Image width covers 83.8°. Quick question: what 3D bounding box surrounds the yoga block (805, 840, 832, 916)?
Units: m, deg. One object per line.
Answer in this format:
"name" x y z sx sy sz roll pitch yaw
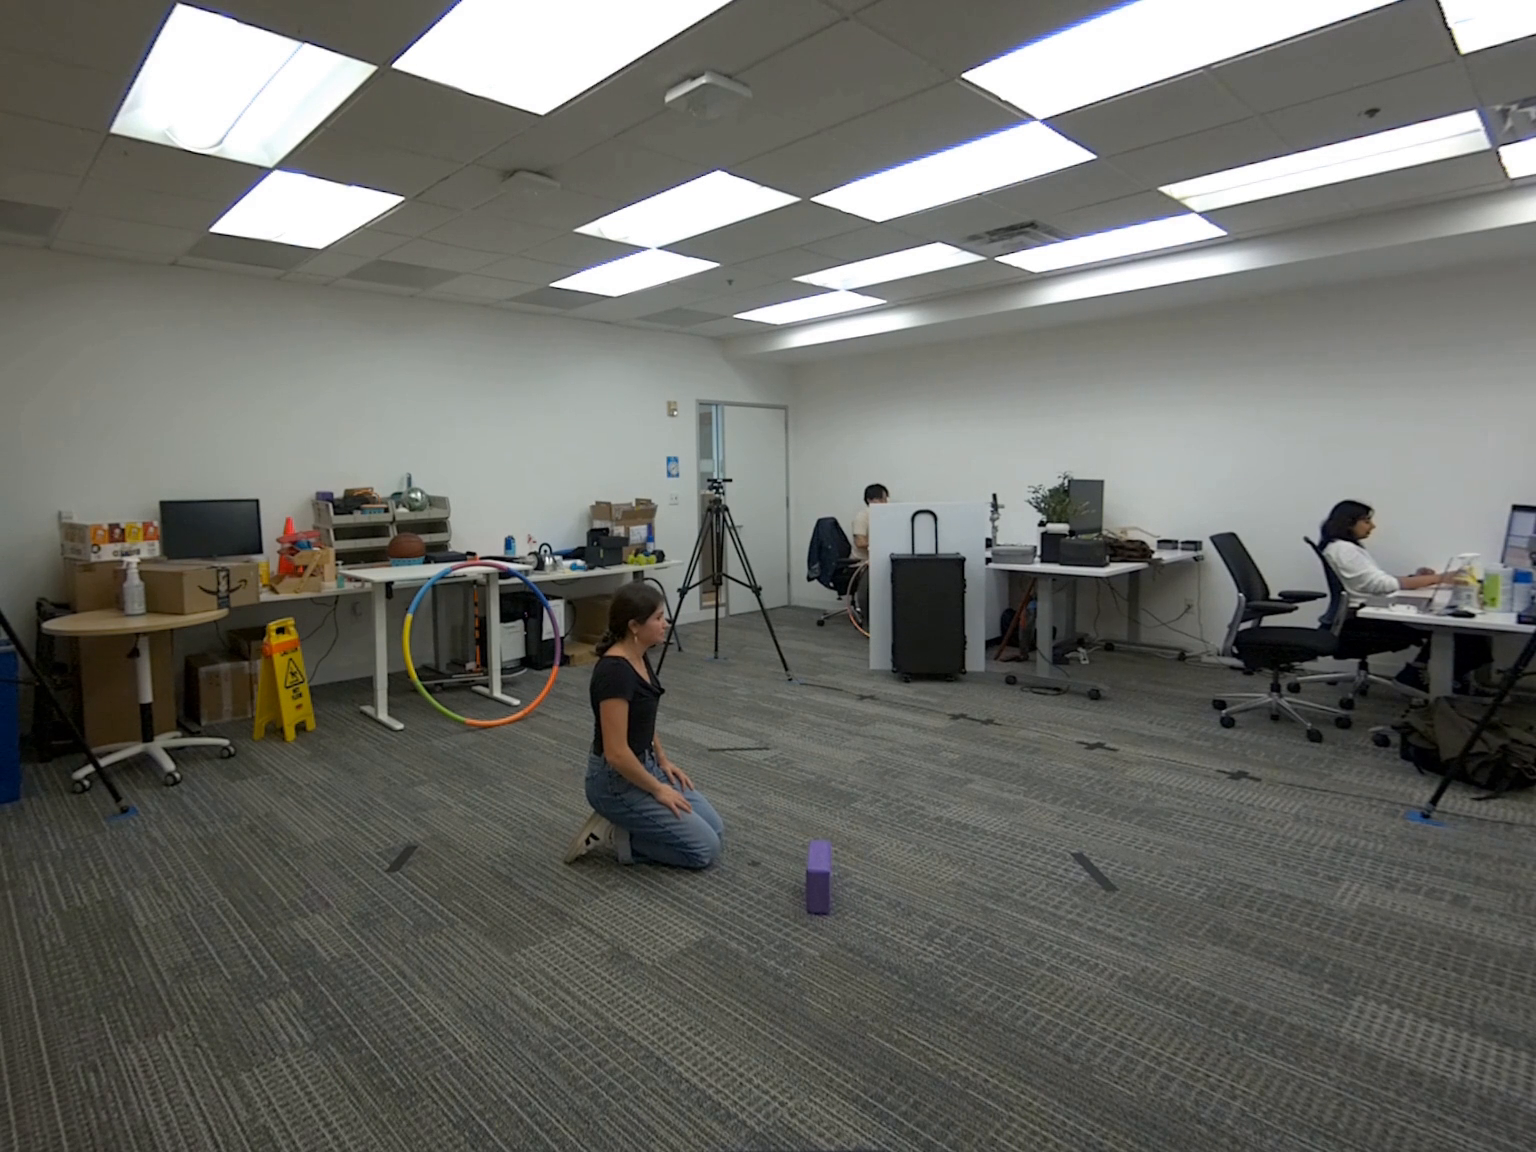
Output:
"yoga block" 0.173 0.995 2.843 0.077 0.148 0.229 1 5 5
